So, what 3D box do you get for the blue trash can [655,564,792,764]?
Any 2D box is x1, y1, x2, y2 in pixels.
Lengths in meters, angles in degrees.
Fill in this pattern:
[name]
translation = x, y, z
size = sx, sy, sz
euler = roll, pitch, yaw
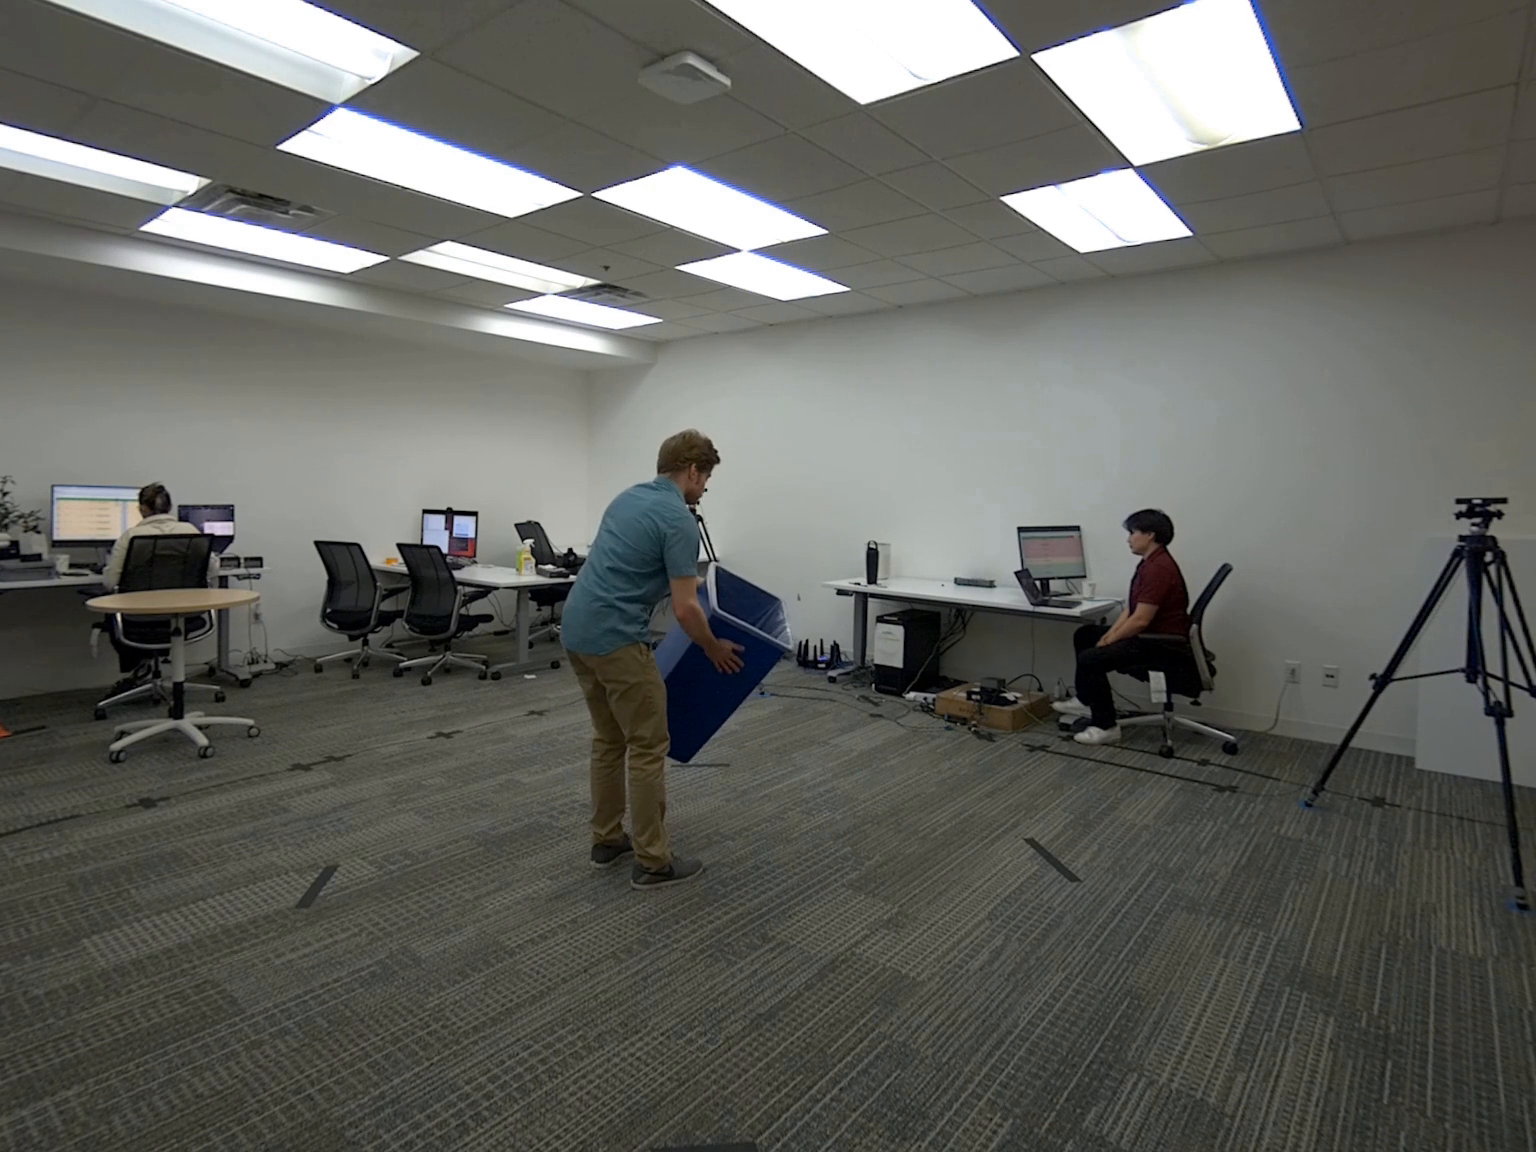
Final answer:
[blue trash can]
translation = -0.274, 0.378, 3.424
size = 0.369, 0.711, 0.385
euler = 28, 23, -20
